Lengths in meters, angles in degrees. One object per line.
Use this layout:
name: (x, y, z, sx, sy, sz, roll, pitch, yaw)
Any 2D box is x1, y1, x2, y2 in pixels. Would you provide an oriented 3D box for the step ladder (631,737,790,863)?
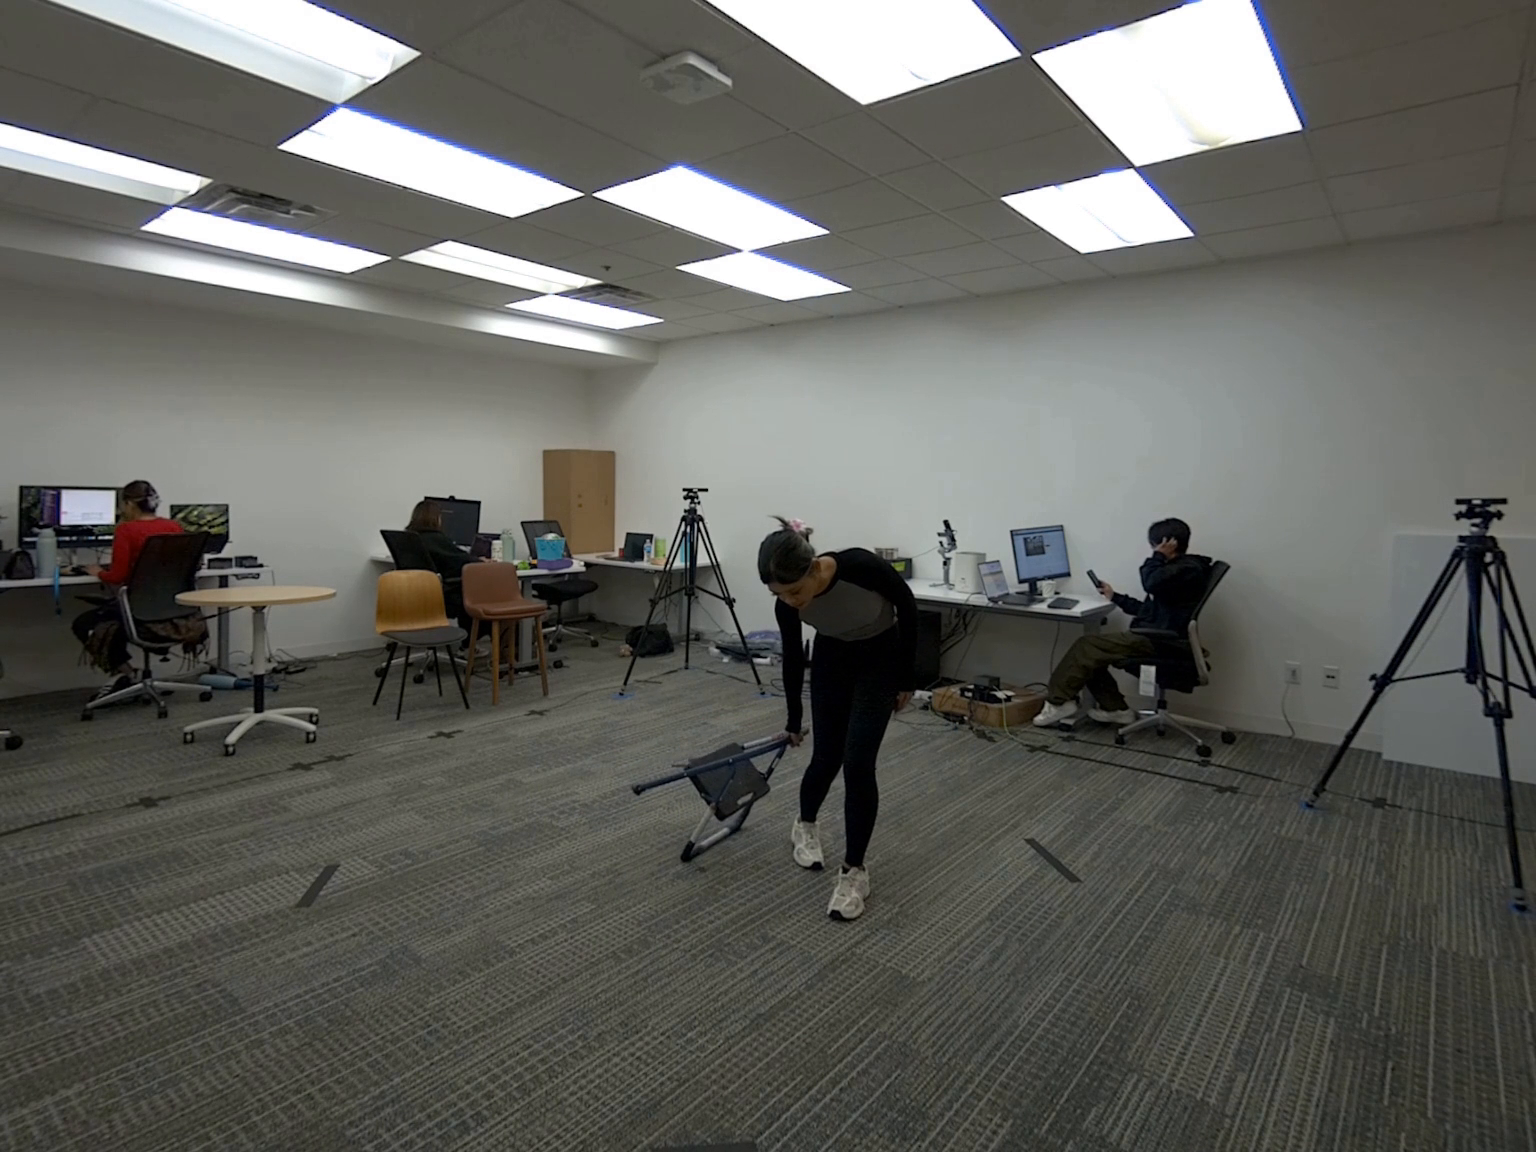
step ladder: (-0.147, 0.728, 3.271, 0.606, 0.358, 0.420, -47, -19, 24)
